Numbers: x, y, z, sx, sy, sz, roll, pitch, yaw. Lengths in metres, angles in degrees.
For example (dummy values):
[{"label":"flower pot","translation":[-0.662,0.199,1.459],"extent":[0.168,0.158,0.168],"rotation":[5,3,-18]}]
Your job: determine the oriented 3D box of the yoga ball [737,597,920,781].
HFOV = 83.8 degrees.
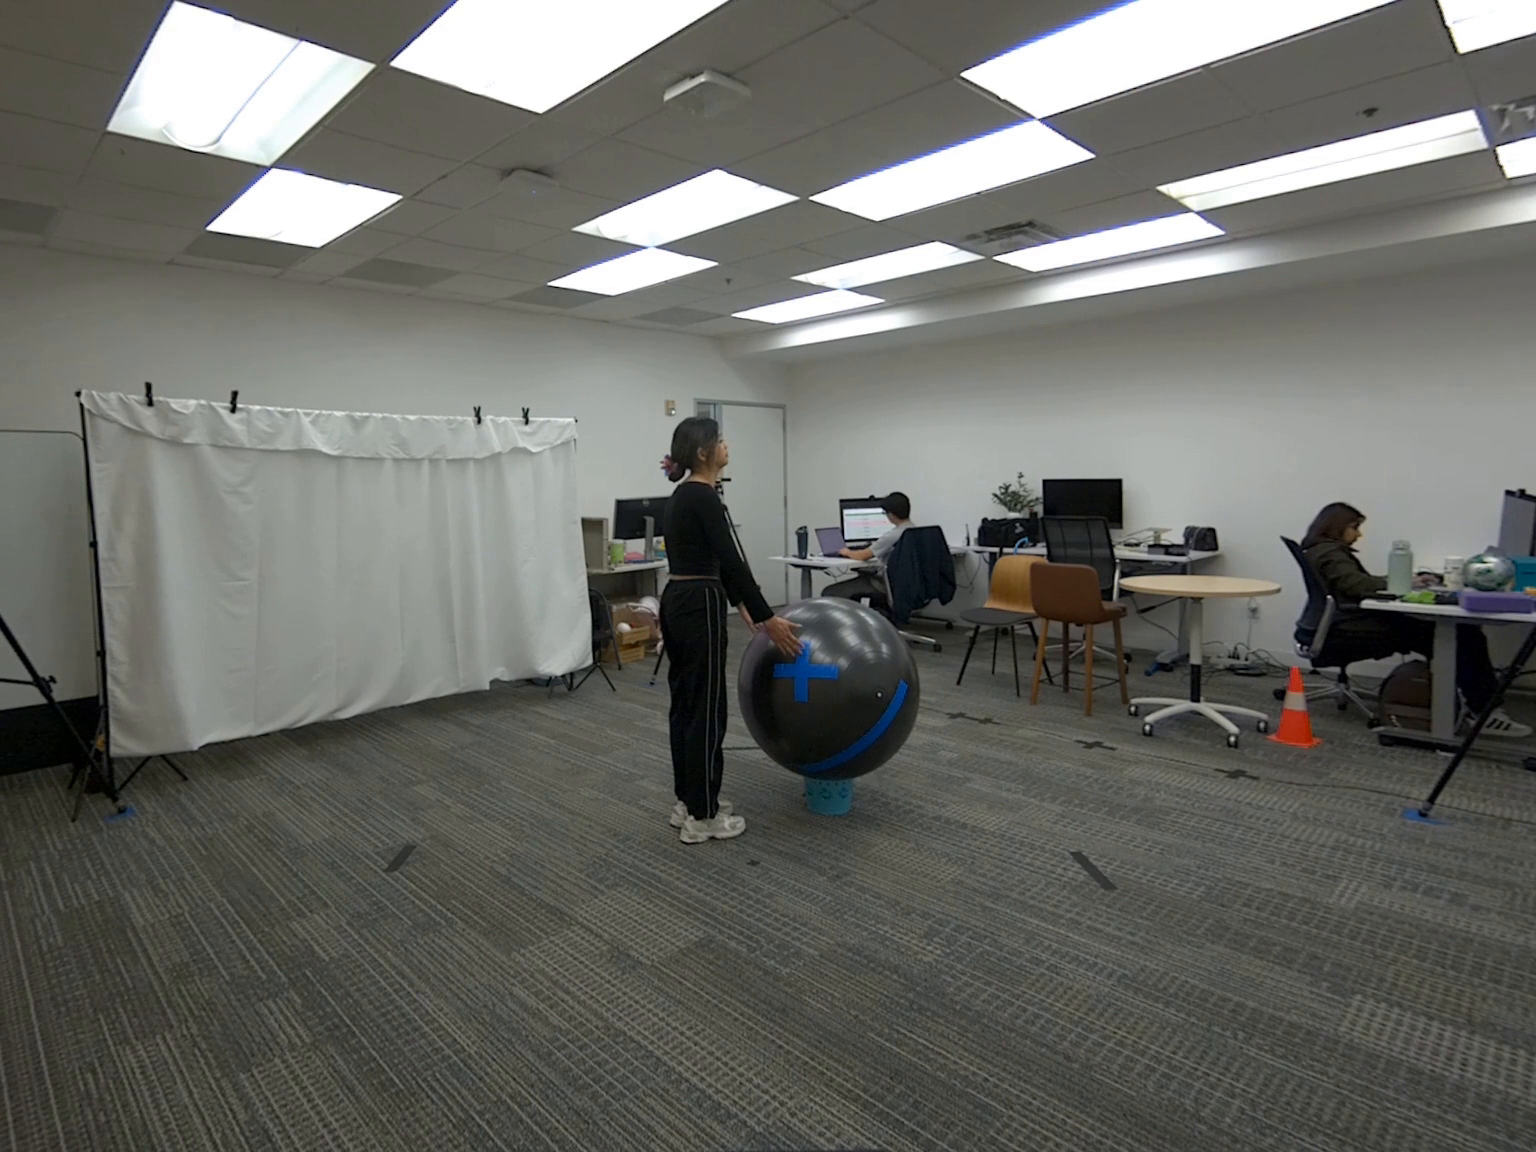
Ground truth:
[{"label":"yoga ball","translation":[0.255,0.470,3.596],"extent":[0.757,0.755,0.762],"rotation":[-1,5,-2]}]
